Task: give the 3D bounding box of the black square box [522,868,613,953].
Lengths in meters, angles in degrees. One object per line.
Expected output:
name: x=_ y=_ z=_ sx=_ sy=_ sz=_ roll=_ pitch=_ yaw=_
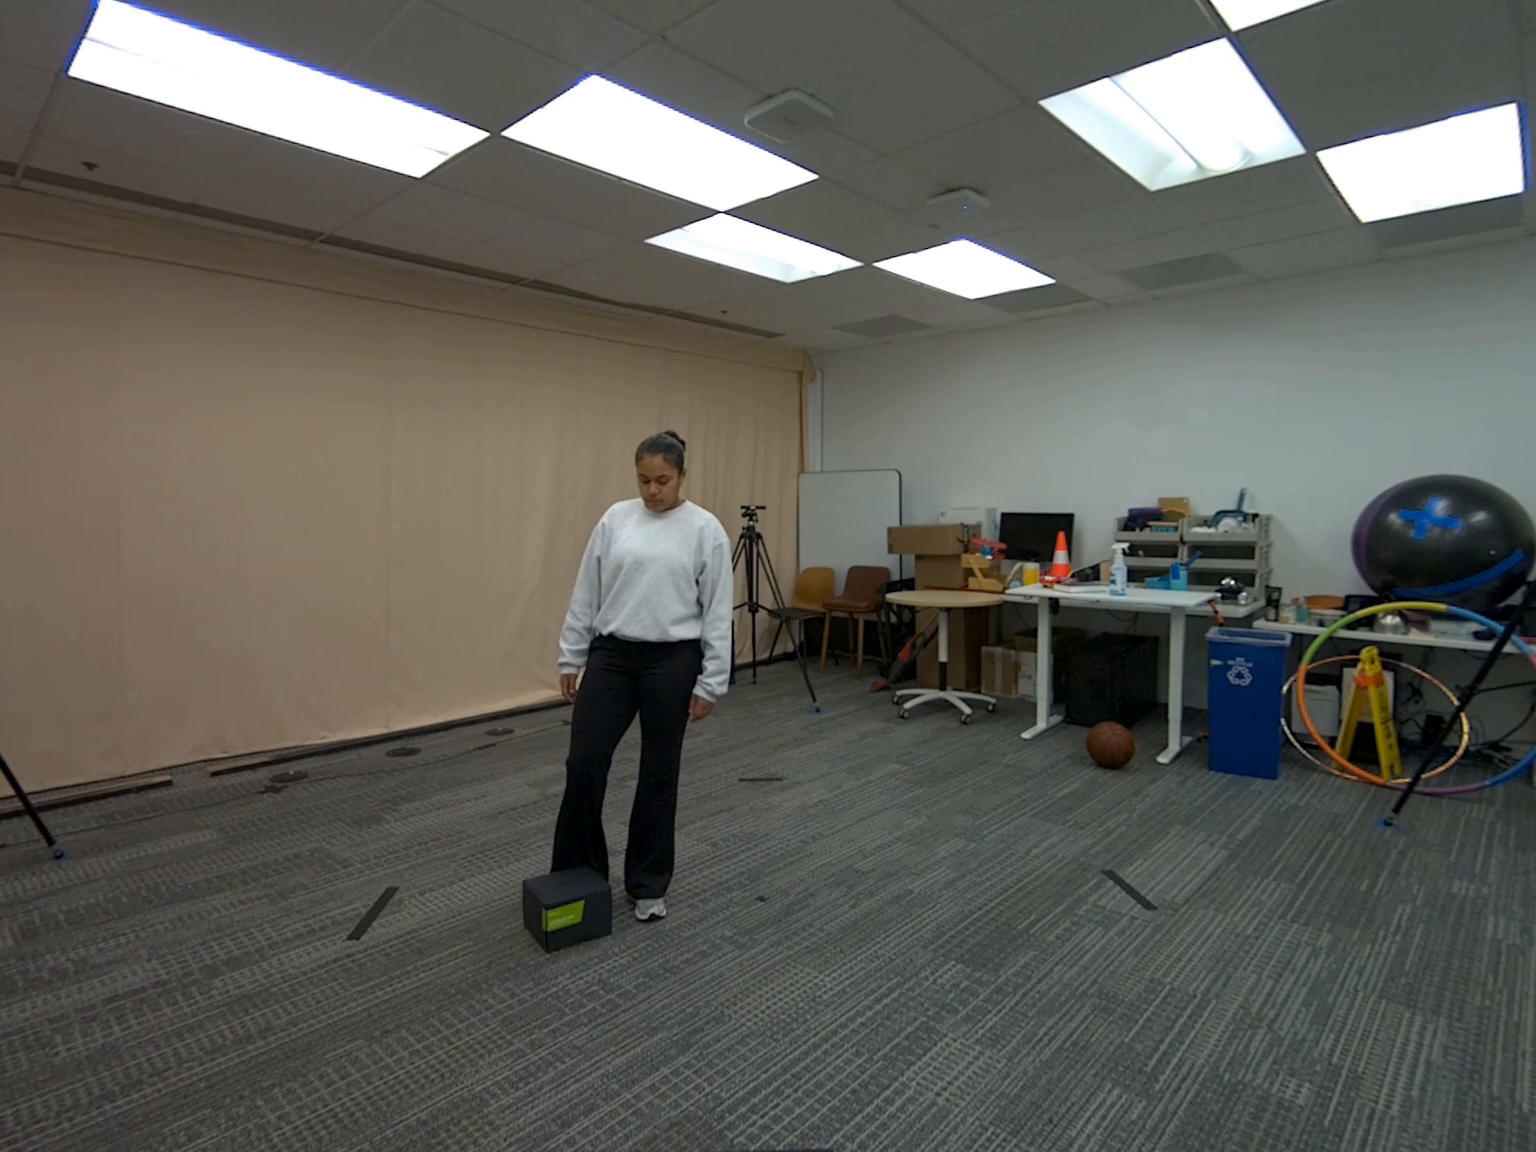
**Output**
black square box: x=-0.649 y=1.079 z=2.752 sx=0.221 sy=0.155 sz=0.224 roll=-4 pitch=5 yaw=-34
